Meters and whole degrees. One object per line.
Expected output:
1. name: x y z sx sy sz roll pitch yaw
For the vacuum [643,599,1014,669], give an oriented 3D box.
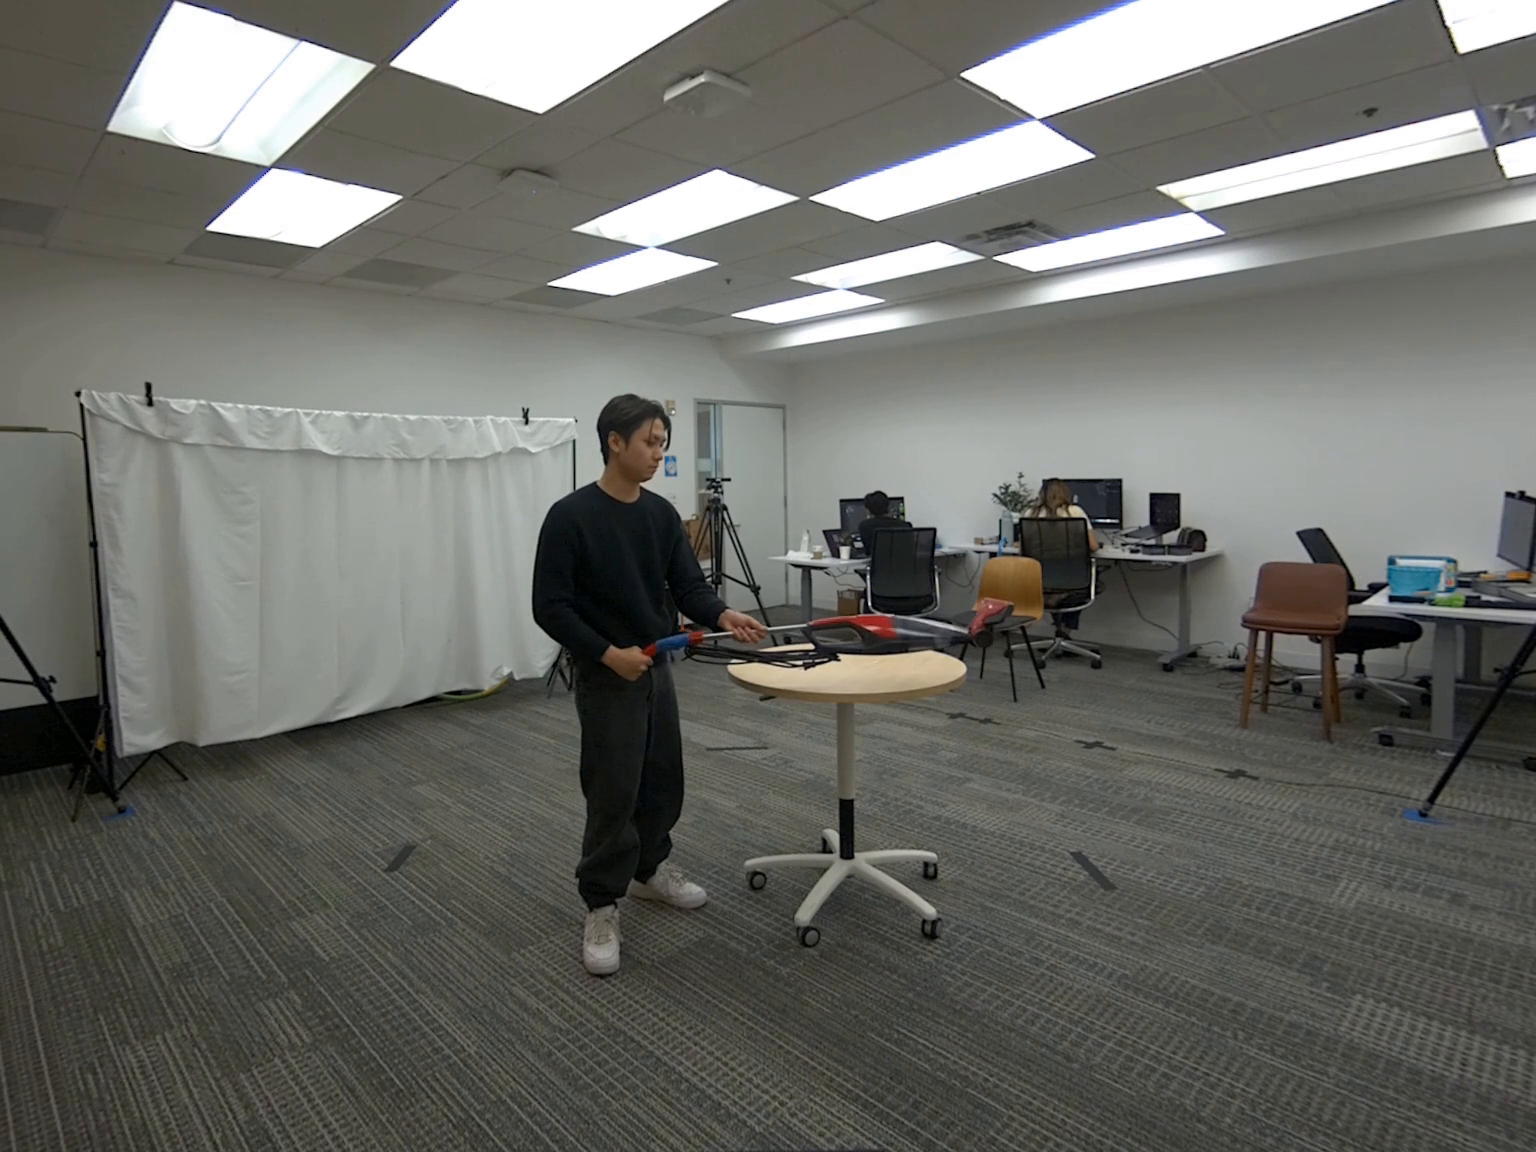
1. vacuum: 0.129 0.187 2.461 1.051 0.144 0.252 -5 2 2
